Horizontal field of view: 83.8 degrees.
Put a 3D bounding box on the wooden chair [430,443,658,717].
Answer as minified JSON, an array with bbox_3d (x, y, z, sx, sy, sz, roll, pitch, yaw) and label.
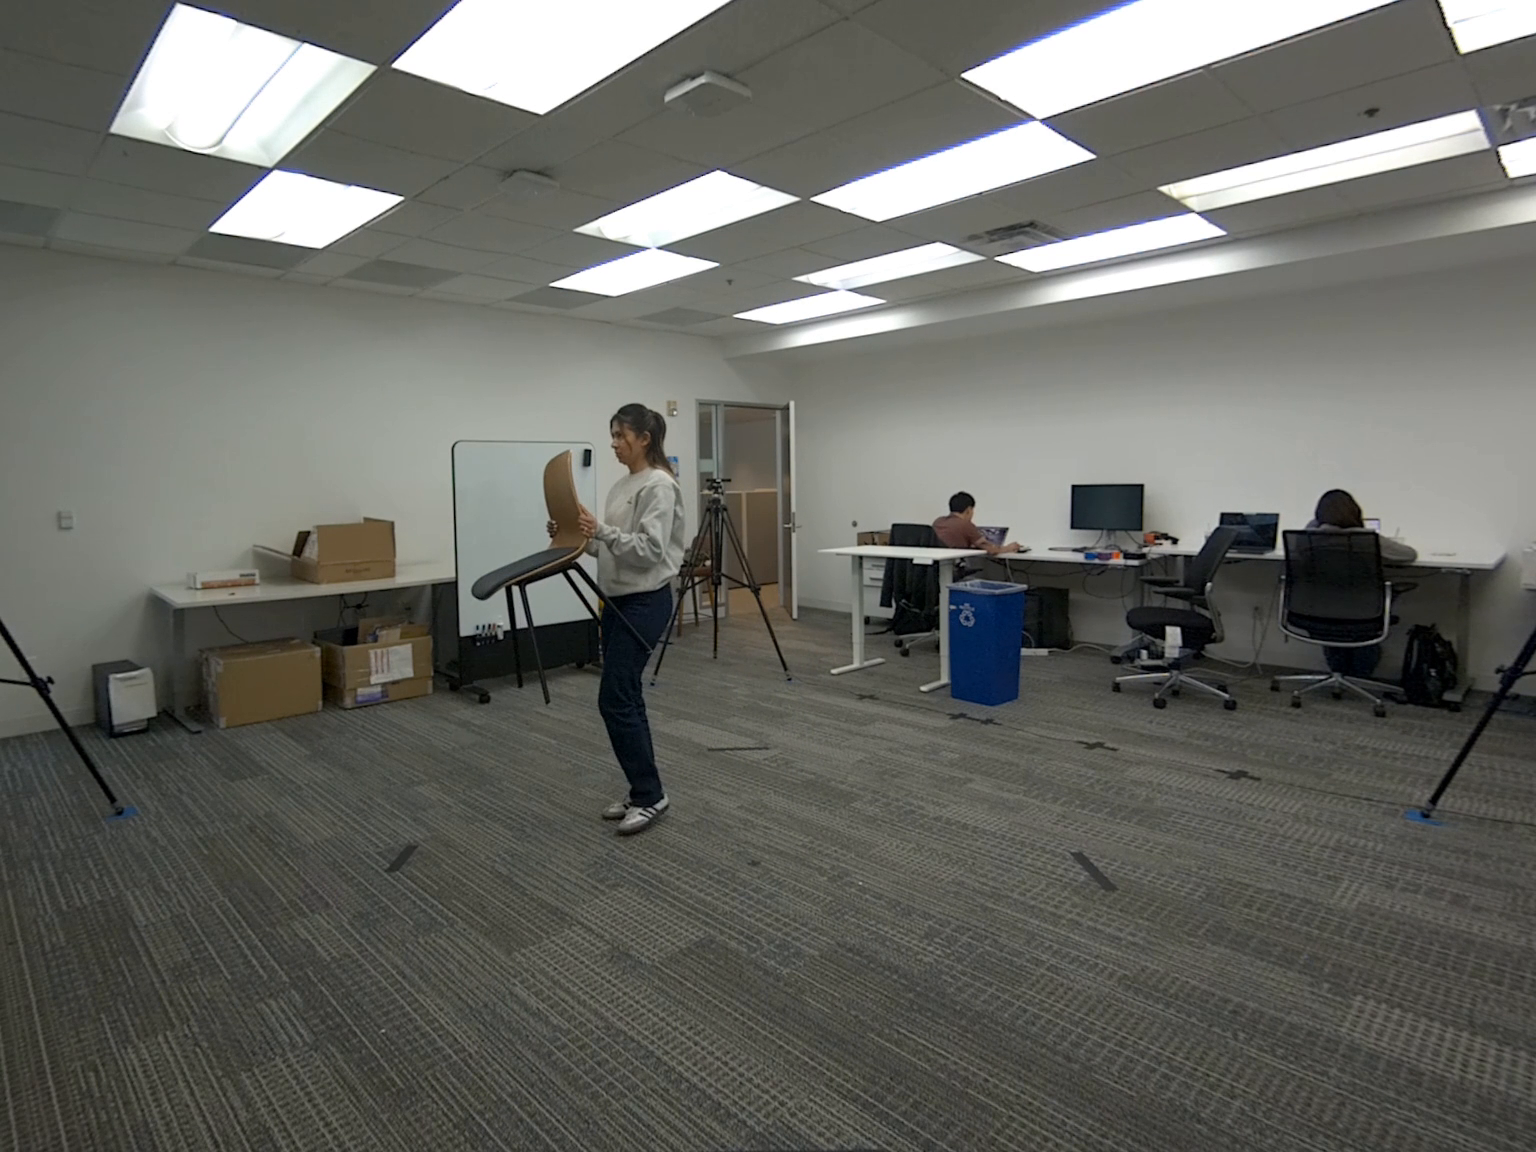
[{"bbox_3d":[-0.889,-0.002,3.369,0.516,0.870,0.489,-21,8,-27],"label":"wooden chair"}]
